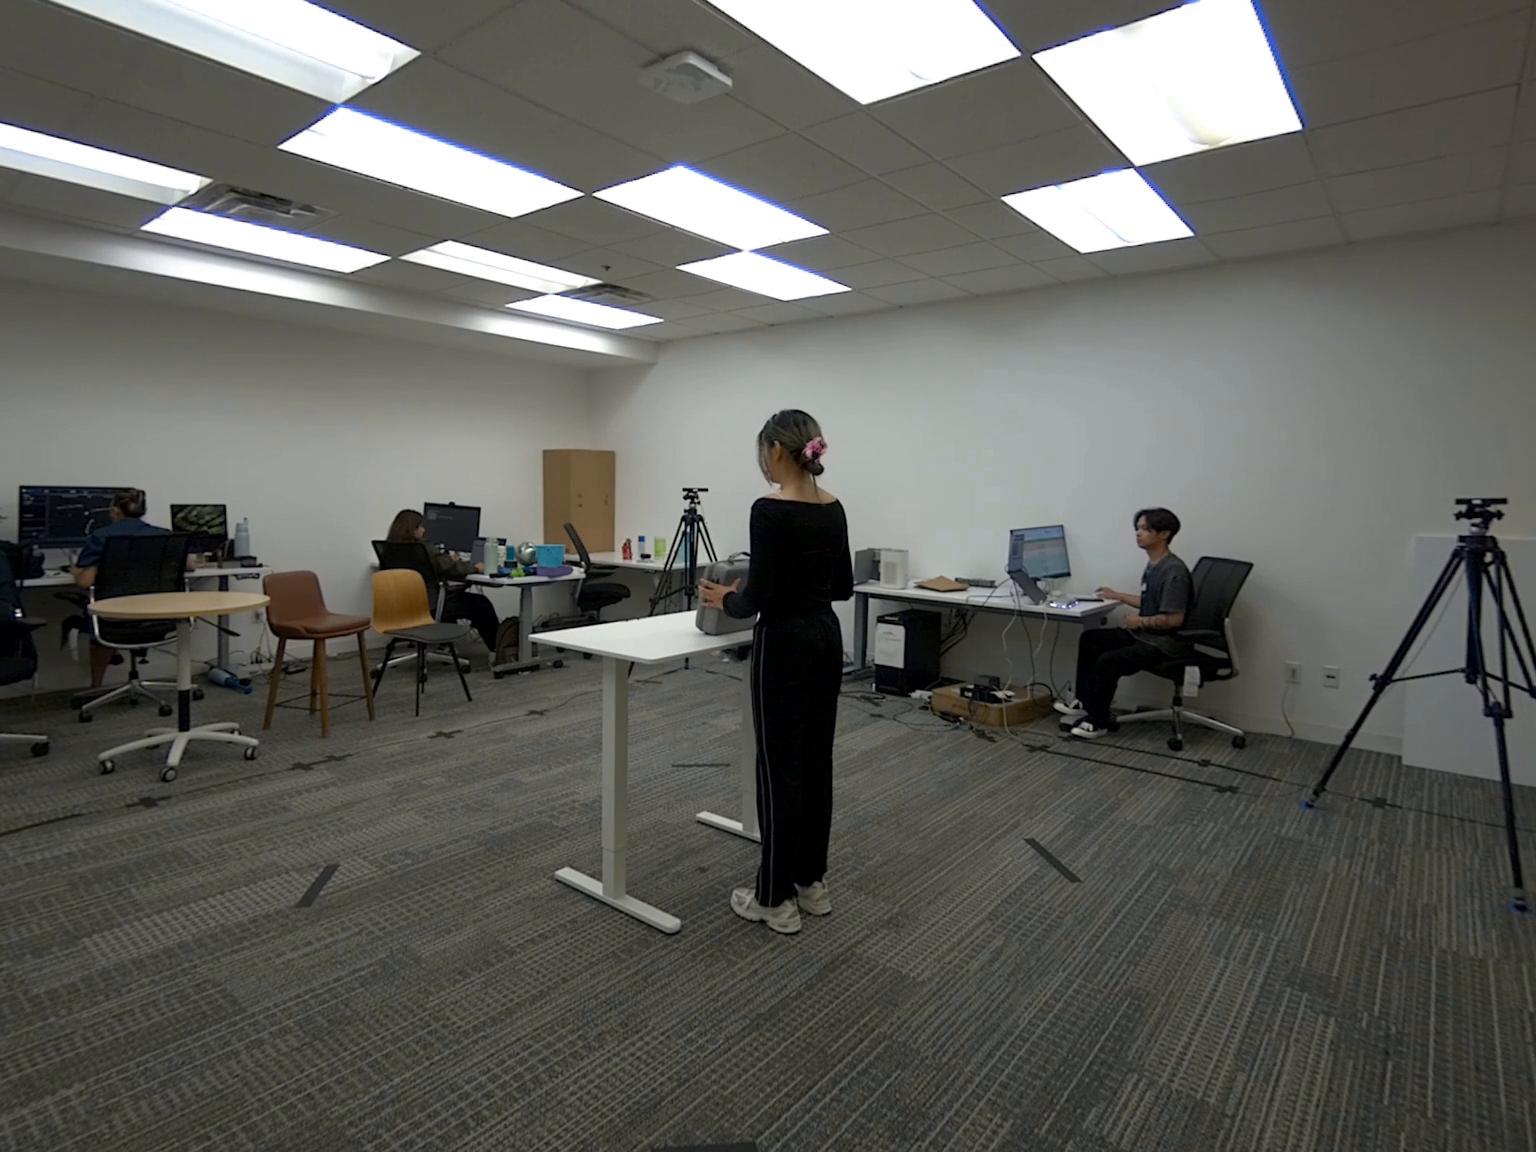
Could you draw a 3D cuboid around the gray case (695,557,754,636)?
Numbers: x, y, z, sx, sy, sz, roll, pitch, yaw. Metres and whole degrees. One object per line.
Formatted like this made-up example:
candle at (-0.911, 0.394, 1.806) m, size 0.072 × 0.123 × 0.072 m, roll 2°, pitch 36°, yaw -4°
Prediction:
gray case at (-0.137, 0.066, 3.015) m, size 0.108 × 0.258 × 0.249 m, roll 18°, pitch 13°, yaw 36°
